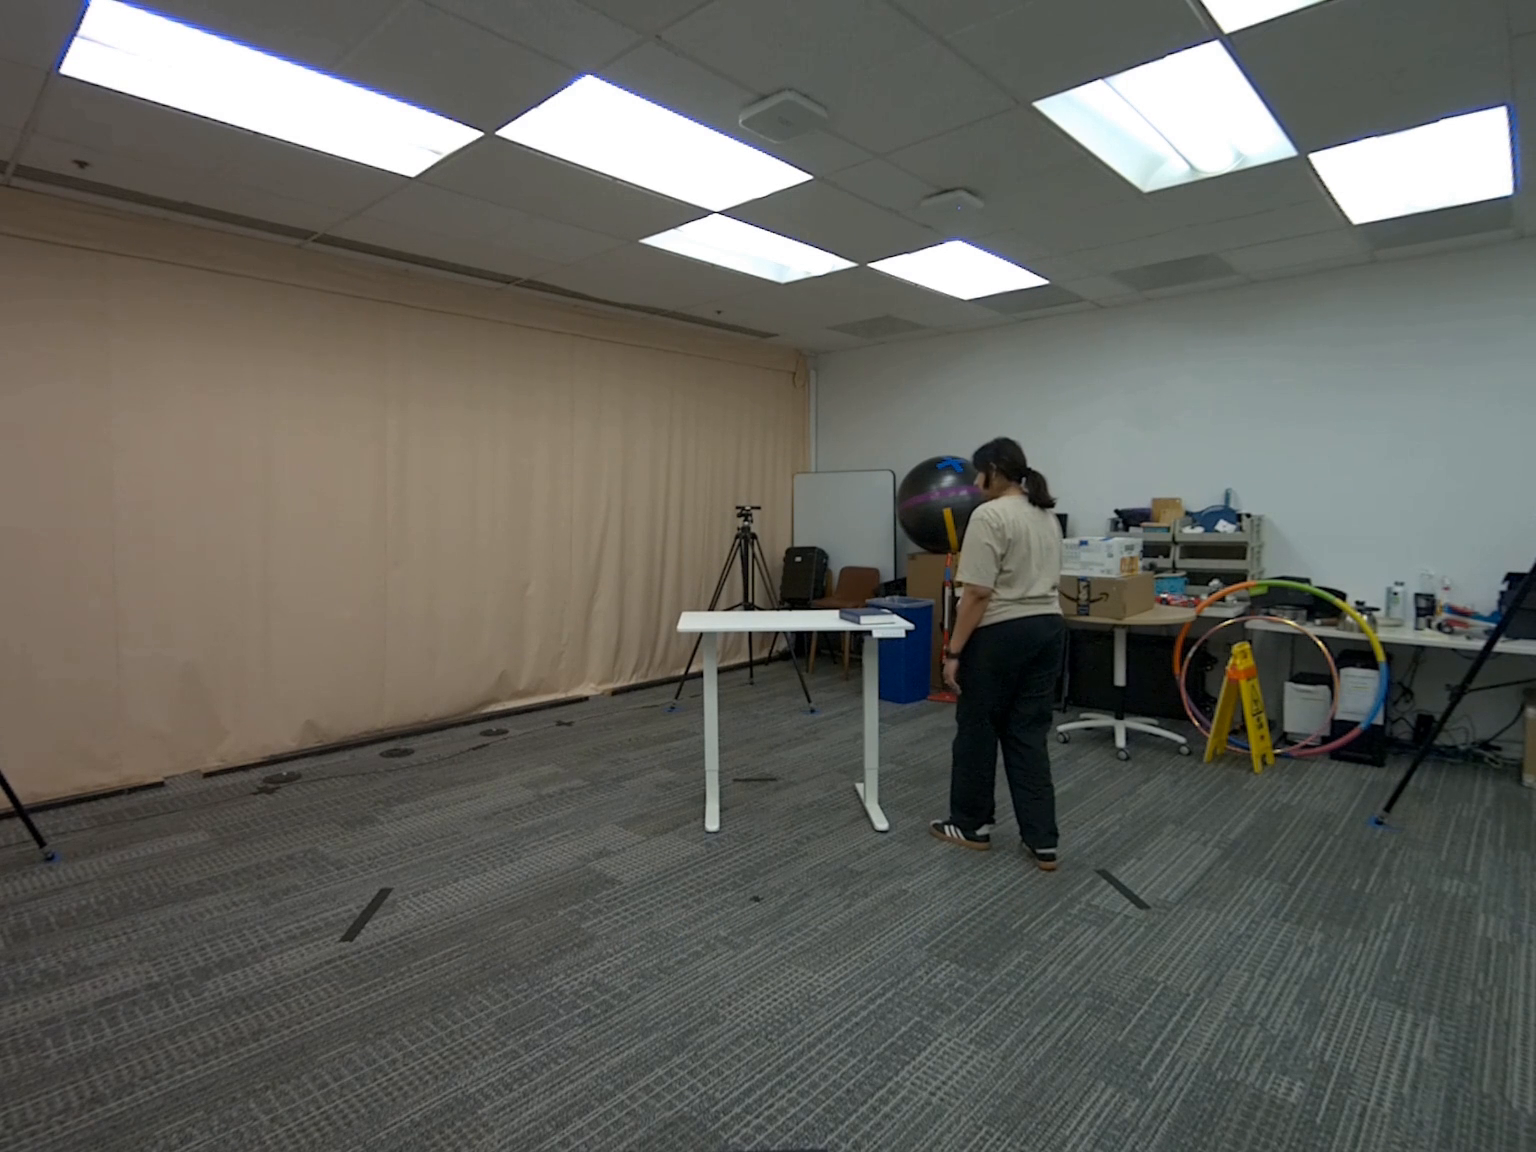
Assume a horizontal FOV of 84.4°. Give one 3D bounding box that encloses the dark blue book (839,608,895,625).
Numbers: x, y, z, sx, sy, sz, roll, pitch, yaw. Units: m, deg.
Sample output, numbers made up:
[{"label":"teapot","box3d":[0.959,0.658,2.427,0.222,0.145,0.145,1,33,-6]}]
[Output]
[{"label":"dark blue book","box3d":[0.443,0.178,3.722,0.161,0.045,0.249,-2,3,-16]}]
